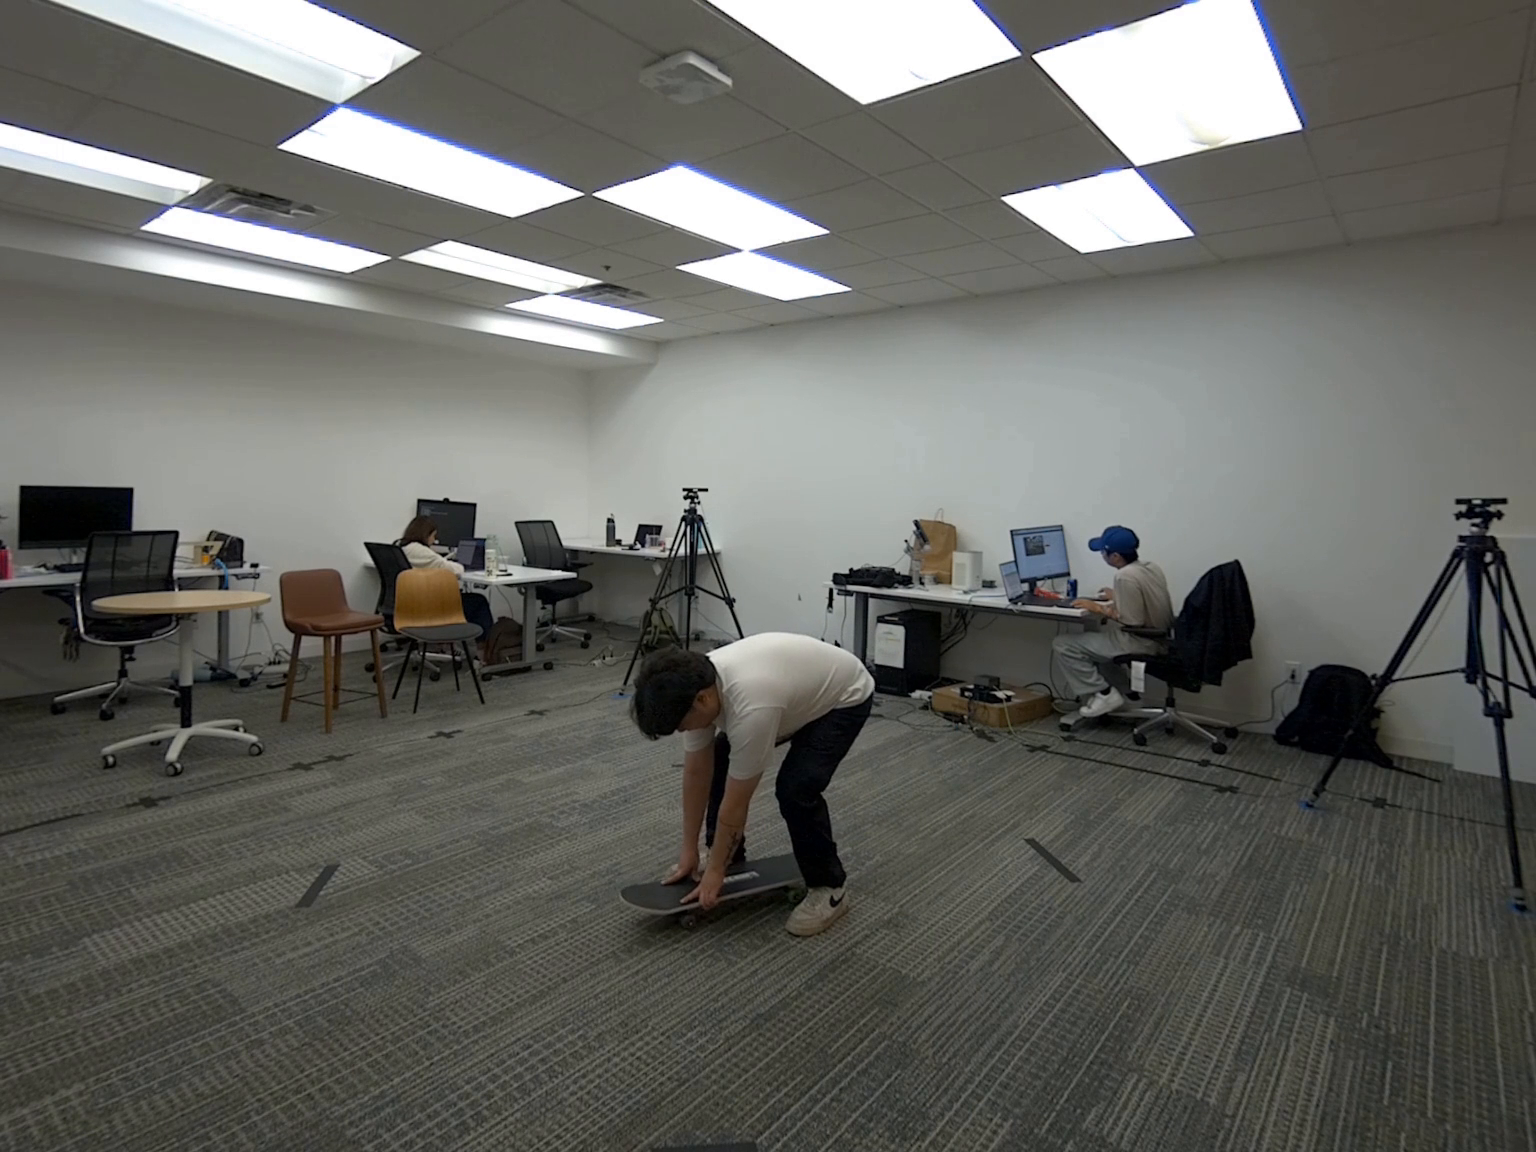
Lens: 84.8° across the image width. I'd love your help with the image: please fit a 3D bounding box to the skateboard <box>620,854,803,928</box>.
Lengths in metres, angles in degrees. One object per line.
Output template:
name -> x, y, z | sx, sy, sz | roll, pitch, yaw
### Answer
skateboard -> -0.125, 1.047, 2.844 | 0.765, 0.110, 0.199 | -2, 5, -28
